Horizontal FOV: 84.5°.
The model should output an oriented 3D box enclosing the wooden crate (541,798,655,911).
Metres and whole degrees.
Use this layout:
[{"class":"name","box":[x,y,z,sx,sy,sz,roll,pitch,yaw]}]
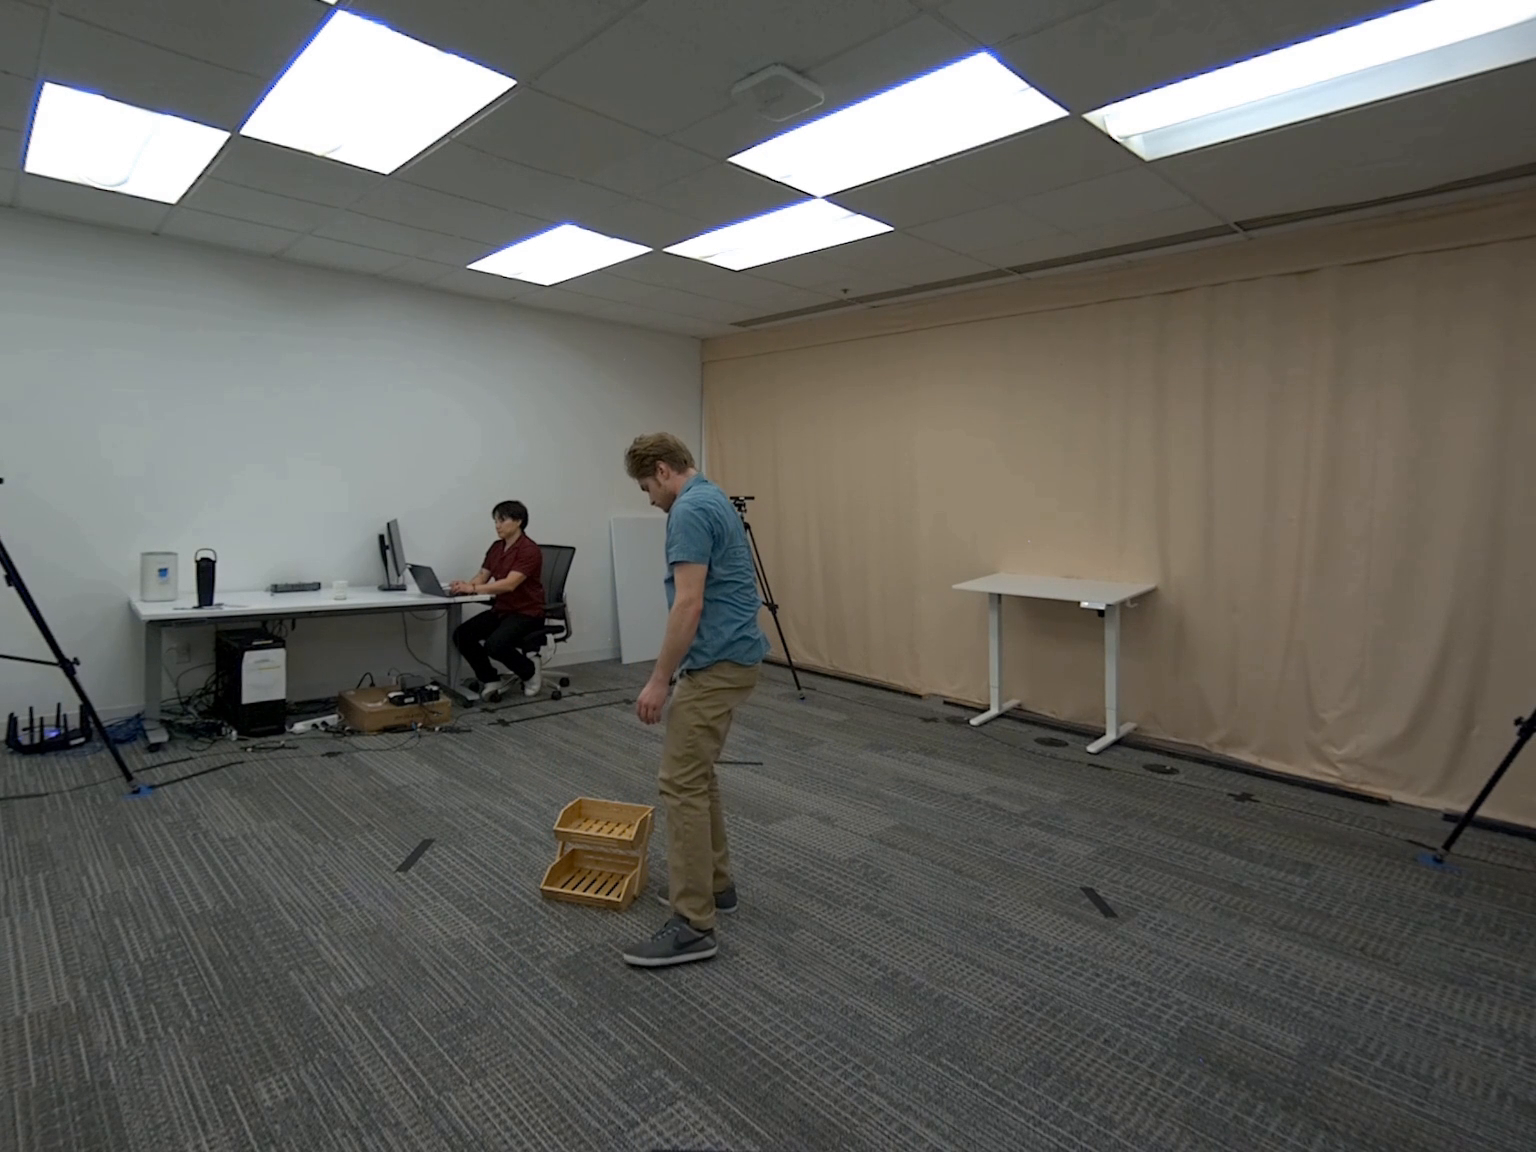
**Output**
[{"class":"wooden crate","box":[-0.606,0.976,2.962,0.328,0.272,0.299,3,4,14]}]
